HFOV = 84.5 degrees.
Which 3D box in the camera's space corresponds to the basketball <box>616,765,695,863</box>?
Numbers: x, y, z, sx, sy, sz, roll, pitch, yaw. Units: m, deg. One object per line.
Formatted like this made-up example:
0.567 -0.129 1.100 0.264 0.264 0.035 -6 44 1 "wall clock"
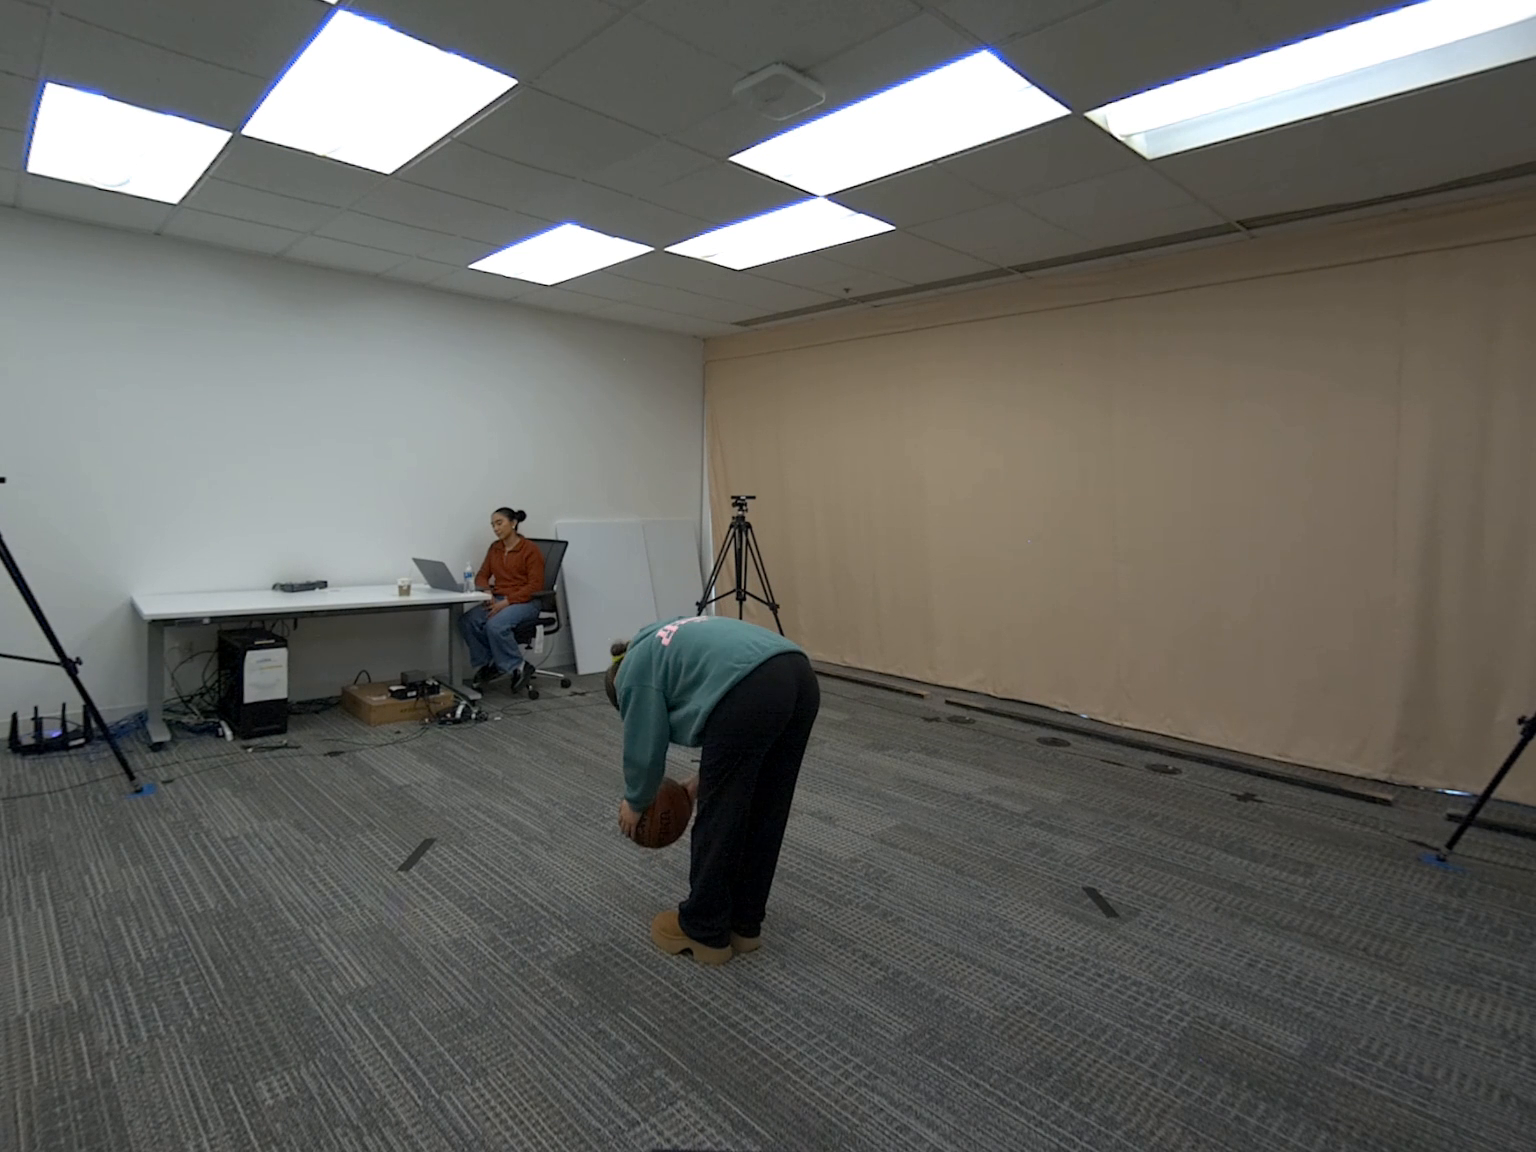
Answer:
-0.372 0.783 2.819 0.236 0.235 0.237 1 4 -1 "basketball"
